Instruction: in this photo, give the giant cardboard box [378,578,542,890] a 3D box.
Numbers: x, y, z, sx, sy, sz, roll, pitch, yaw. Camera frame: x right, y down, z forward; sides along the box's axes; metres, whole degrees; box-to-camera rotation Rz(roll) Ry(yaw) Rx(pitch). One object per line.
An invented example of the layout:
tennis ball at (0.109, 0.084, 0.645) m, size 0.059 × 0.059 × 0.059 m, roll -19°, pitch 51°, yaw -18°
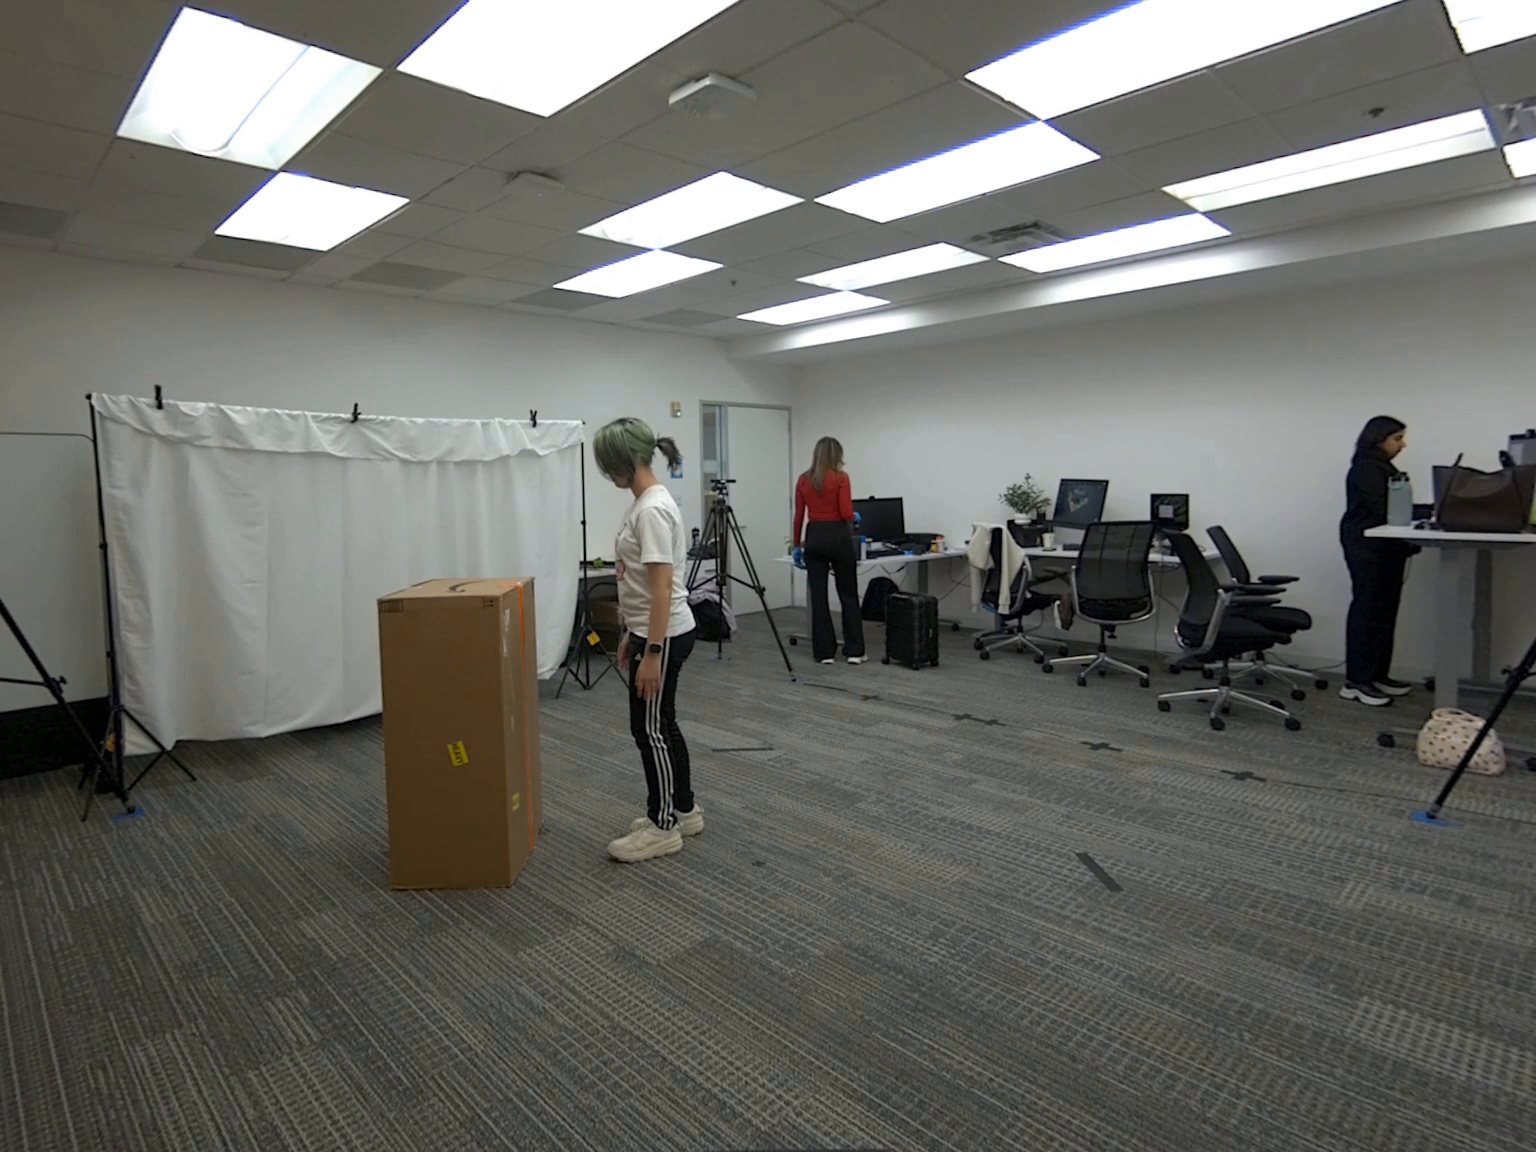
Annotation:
giant cardboard box at (-1.128, 0.550, 3.224) m, size 0.446 × 1.024 × 0.587 m, roll -2°, pitch 3°, yaw -3°
